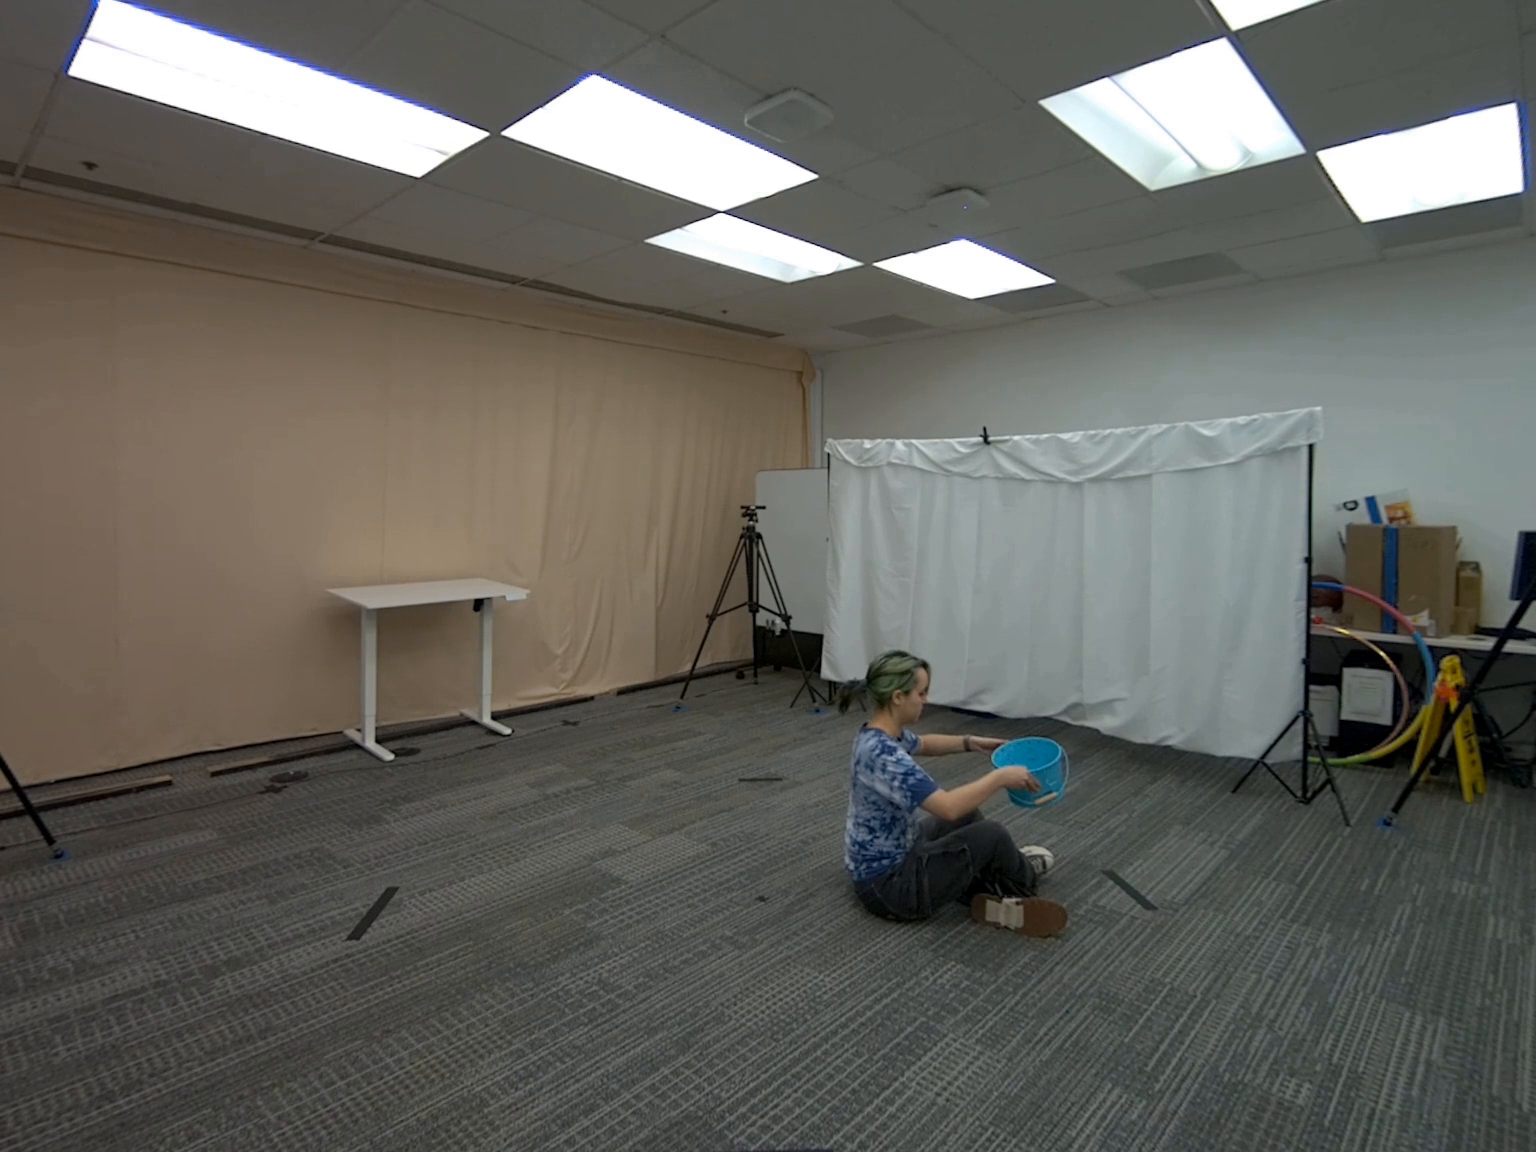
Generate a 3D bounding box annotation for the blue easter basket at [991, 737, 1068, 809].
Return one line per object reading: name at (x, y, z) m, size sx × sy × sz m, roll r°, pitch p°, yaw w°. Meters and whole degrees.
blue easter basket at (0.912, 0.689, 2.869) m, size 0.244 × 0.154 × 0.245 m, roll -17°, pitch 11°, yaw 1°
